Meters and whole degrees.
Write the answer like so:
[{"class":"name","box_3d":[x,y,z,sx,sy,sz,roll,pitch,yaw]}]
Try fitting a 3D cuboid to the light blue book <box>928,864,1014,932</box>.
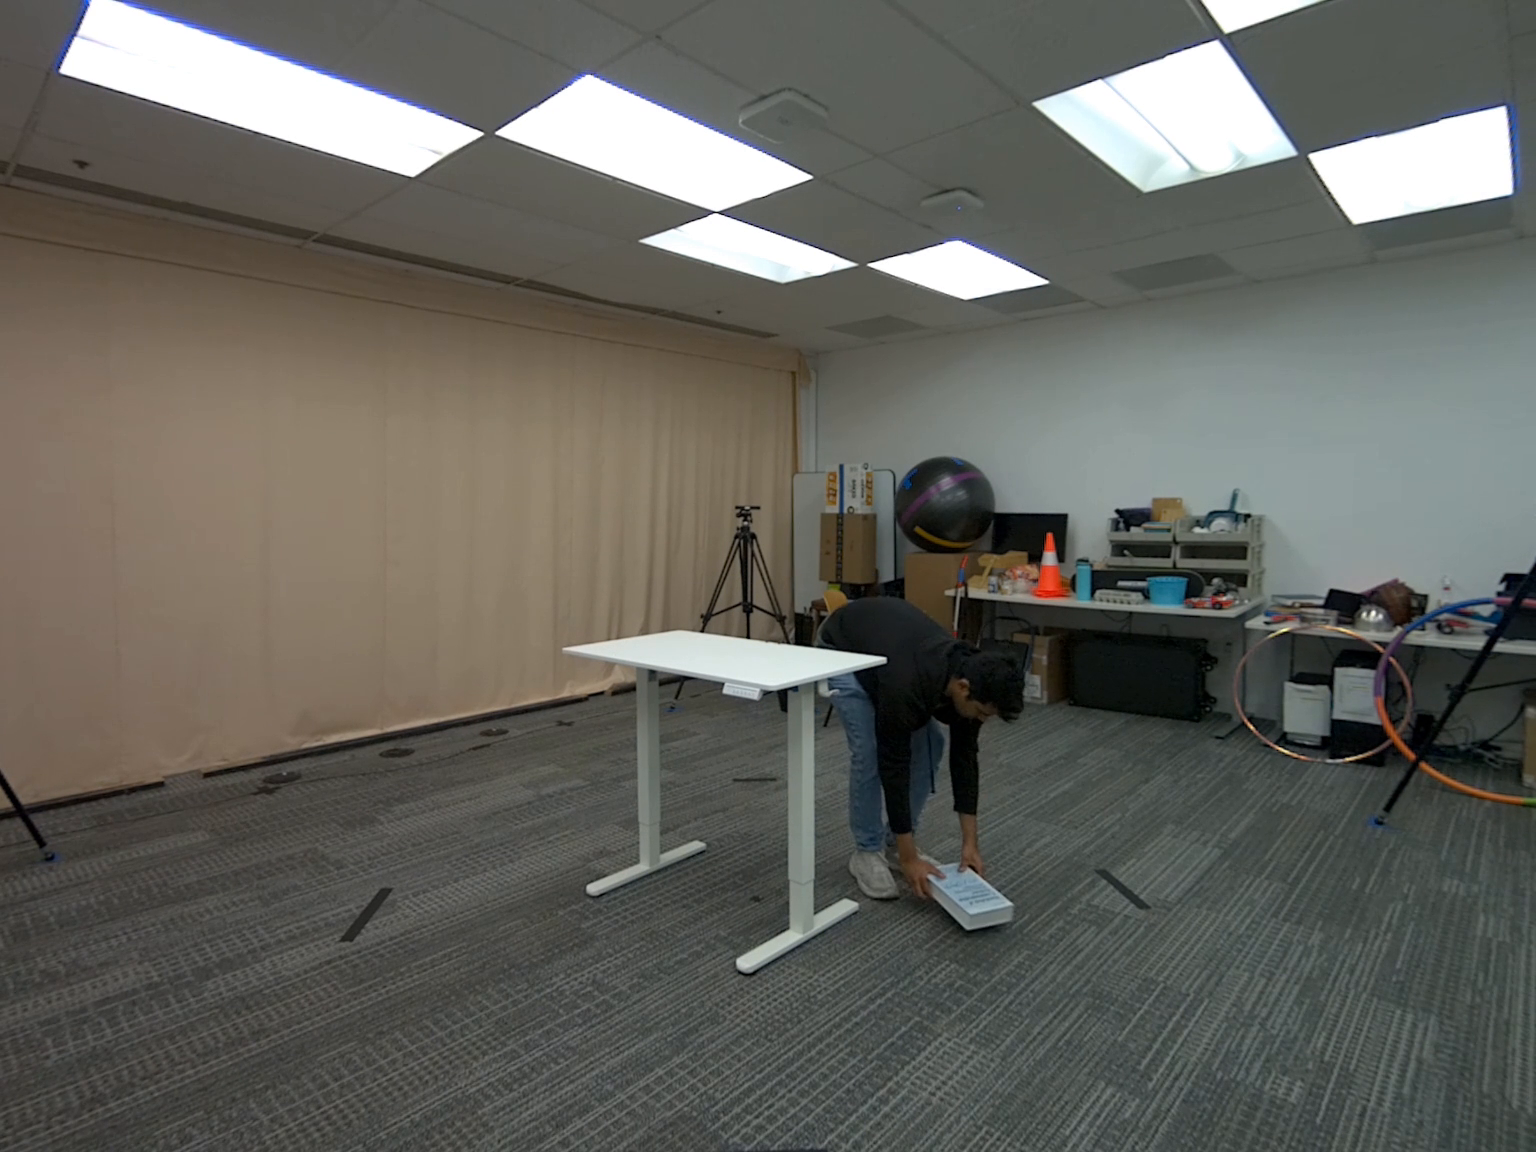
[{"class":"light blue book","box_3d":[0.672,1.052,2.819,0.187,0.059,0.269,-1,13,-26]}]
